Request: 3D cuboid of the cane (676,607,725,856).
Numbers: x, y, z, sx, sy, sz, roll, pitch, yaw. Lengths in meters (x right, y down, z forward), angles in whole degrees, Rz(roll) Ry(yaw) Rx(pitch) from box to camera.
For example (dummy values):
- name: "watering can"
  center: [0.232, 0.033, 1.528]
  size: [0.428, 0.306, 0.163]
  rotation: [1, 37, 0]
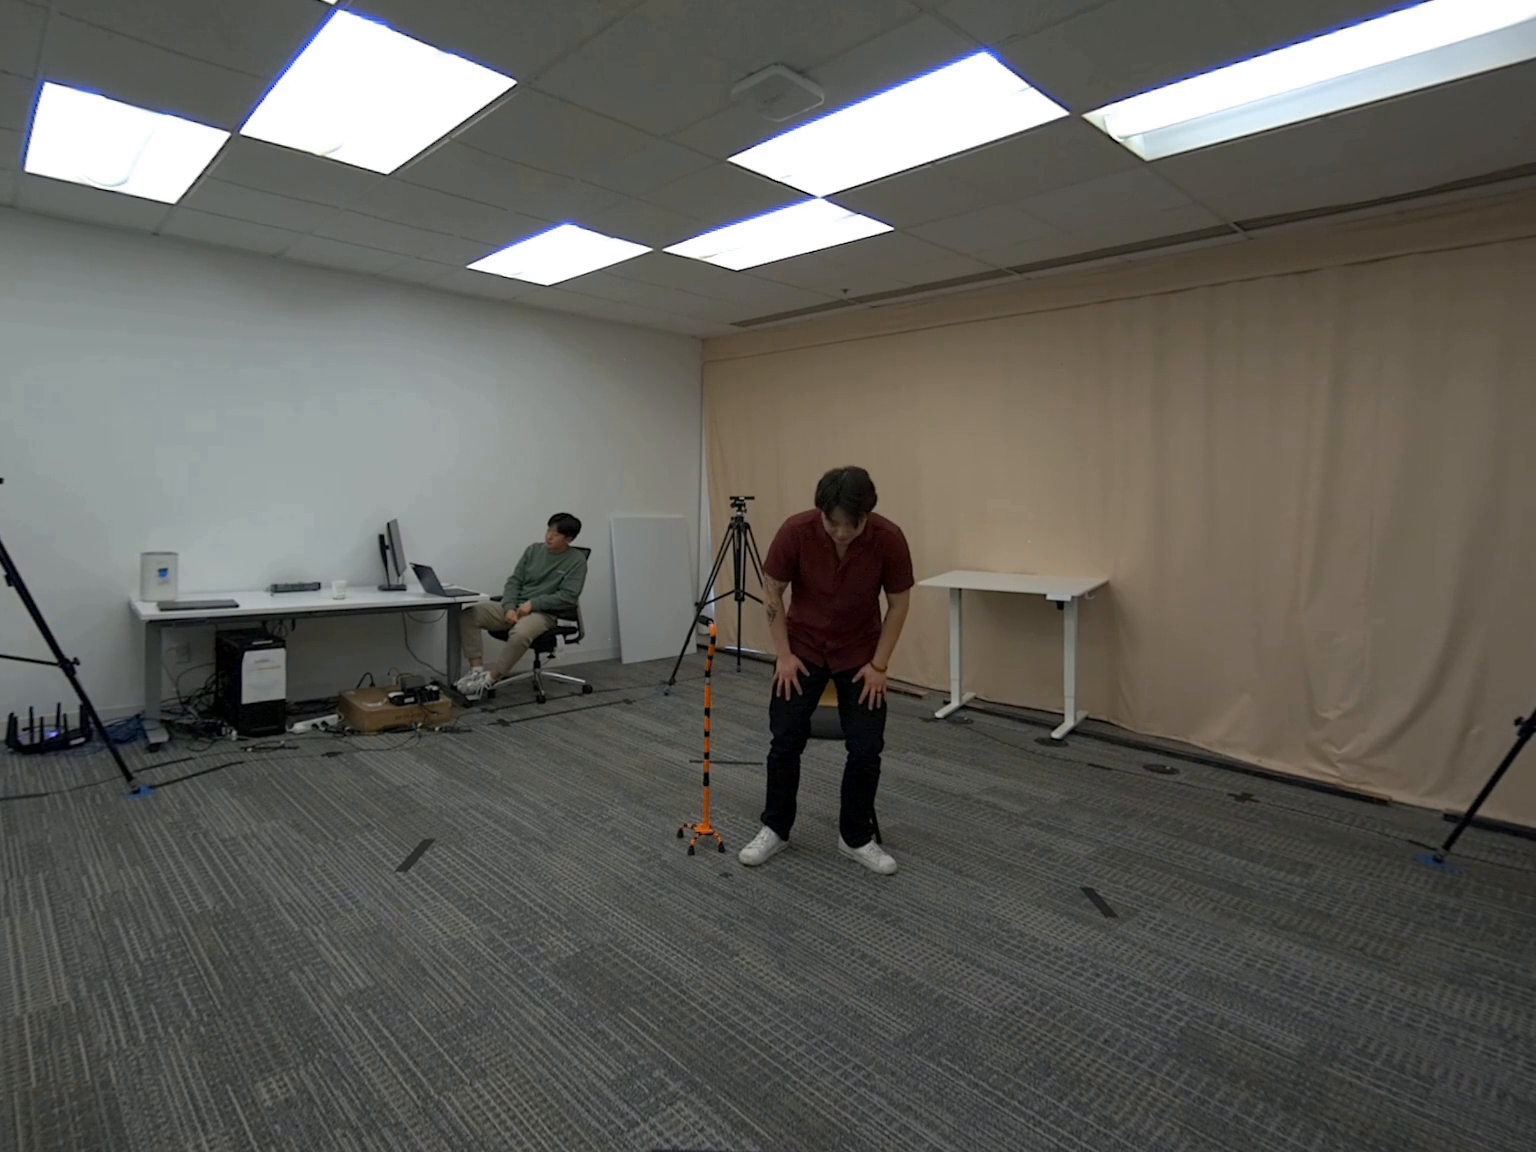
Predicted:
- name: "cane"
  center: [-0.261, 0.621, 3.360]
  size: [0.149, 0.906, 0.210]
  rotation: [2, 3, -20]
